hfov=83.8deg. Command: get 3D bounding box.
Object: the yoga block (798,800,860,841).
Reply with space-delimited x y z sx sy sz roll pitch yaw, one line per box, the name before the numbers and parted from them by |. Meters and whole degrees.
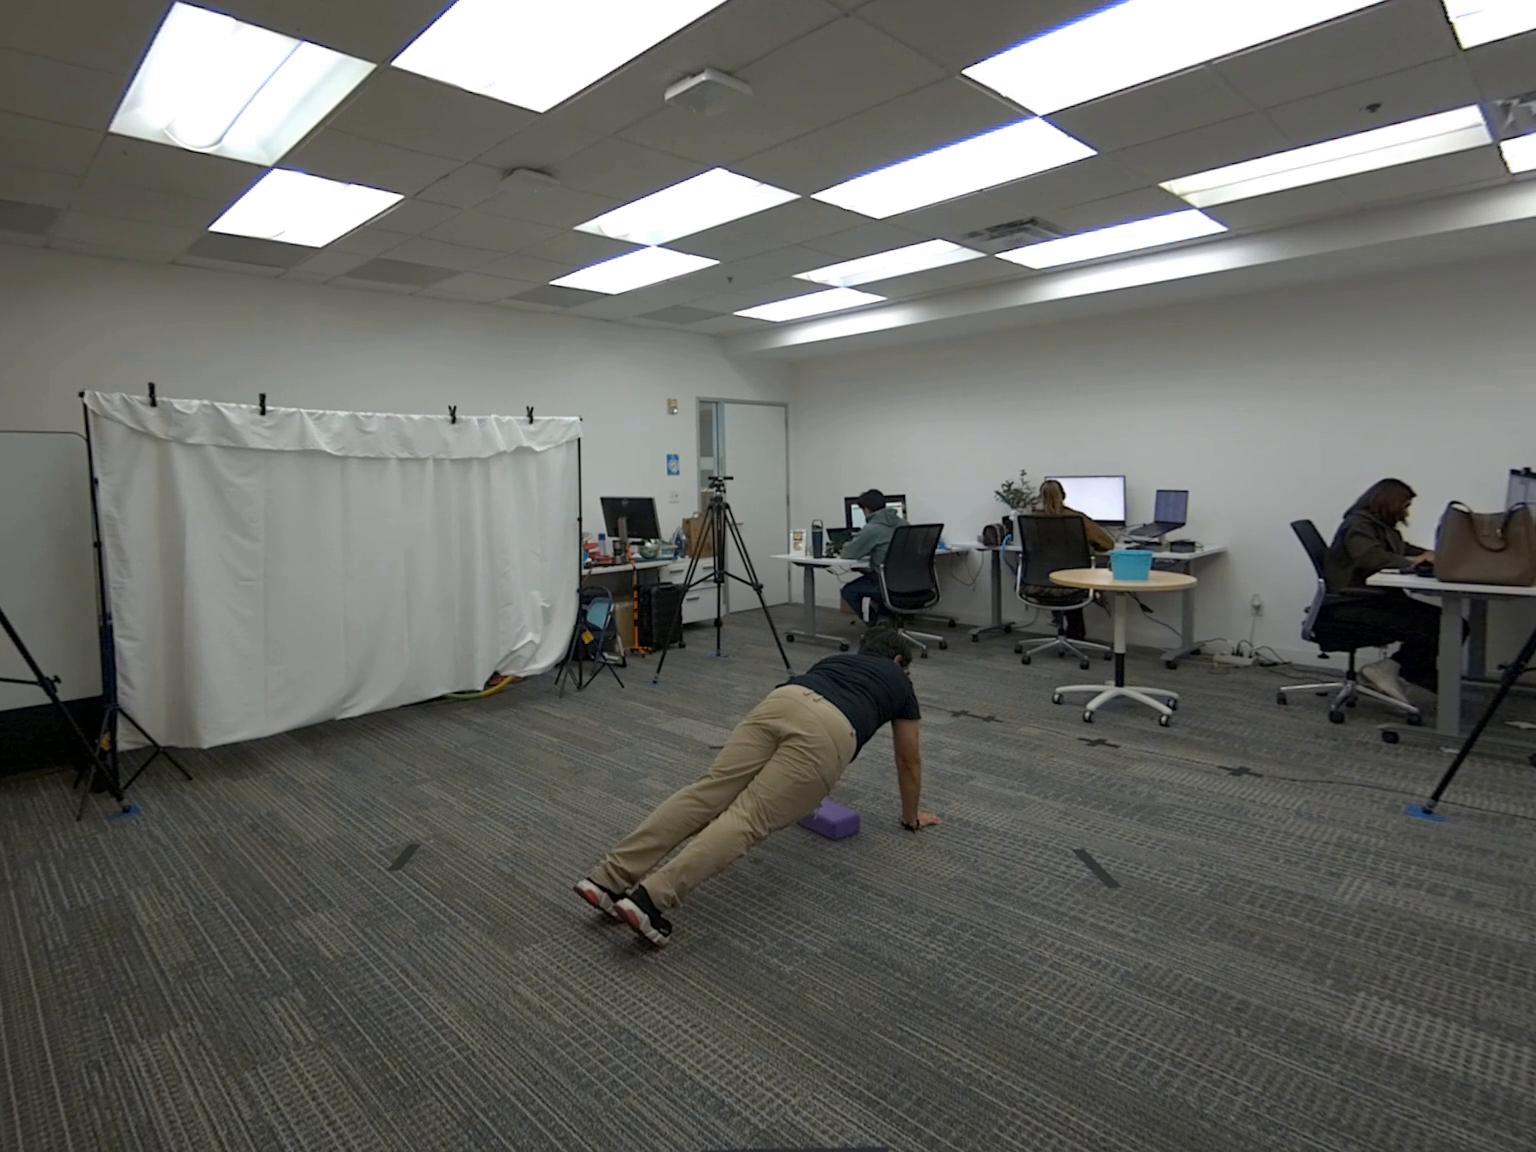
yoga block | 0.238 0.958 3.389 0.145 0.076 0.236 -5 7 -39
